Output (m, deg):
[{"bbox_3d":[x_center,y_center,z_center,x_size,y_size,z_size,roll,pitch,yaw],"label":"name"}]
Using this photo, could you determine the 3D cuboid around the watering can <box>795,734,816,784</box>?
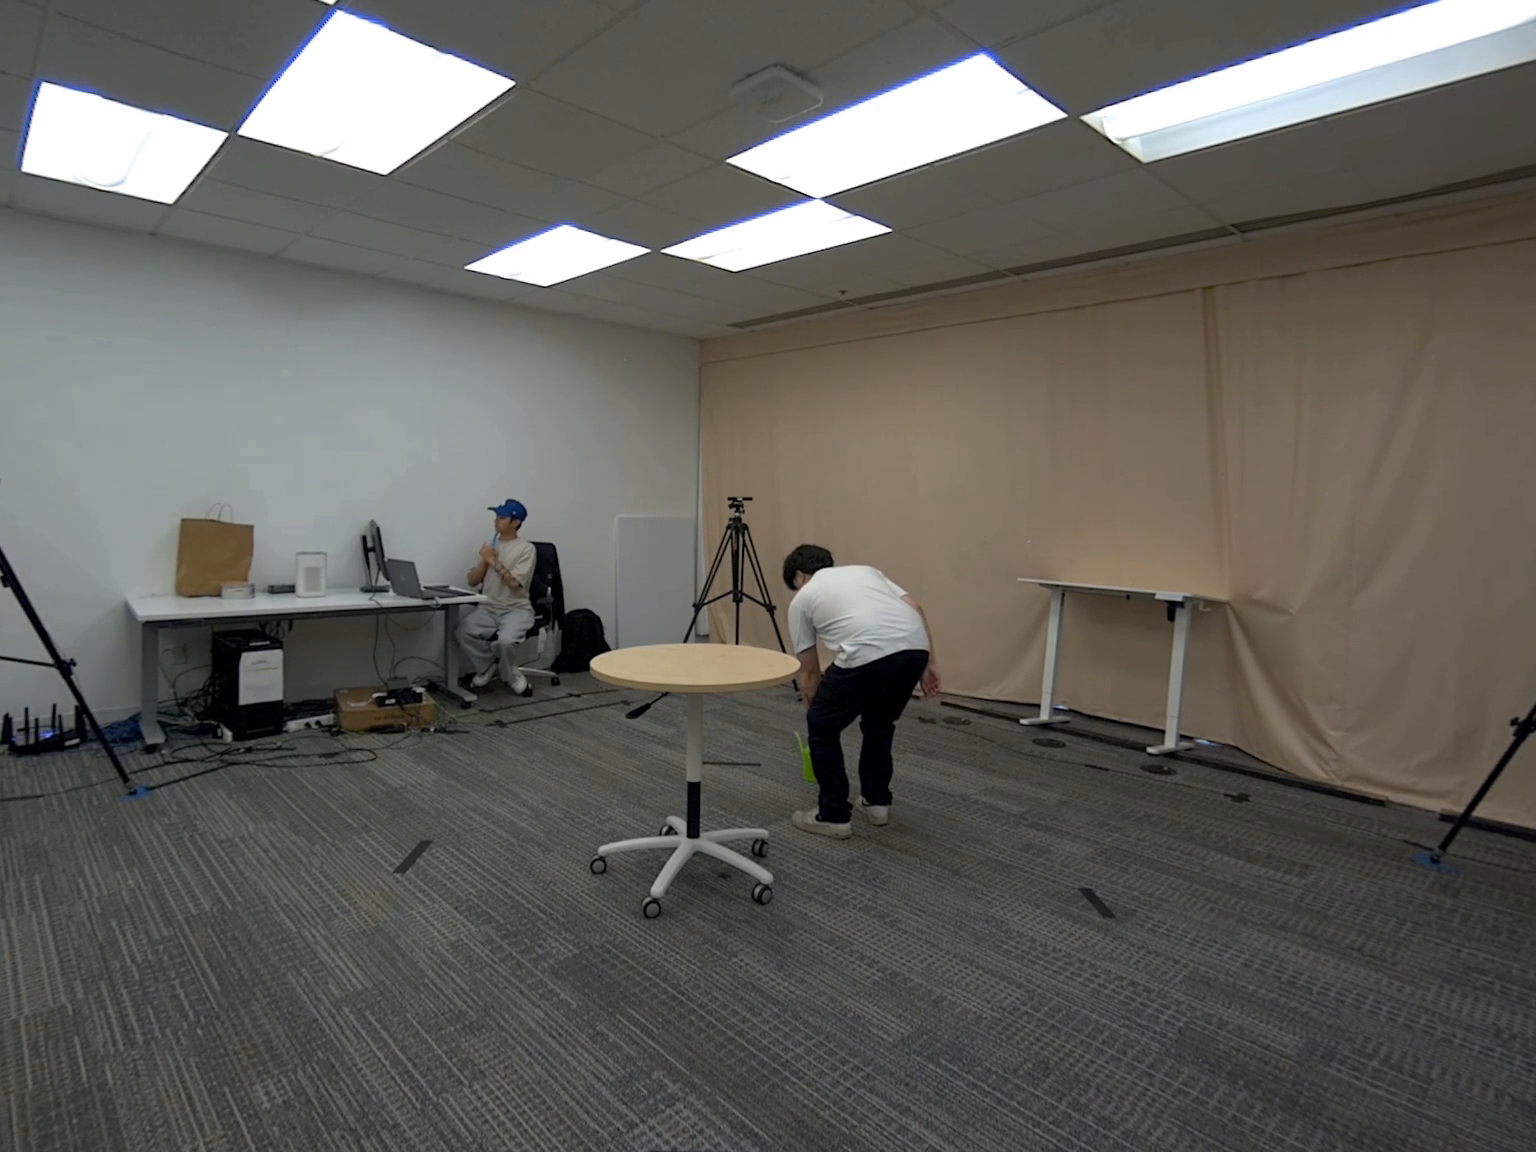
[{"bbox_3d":[0.187,0.848,3.948,0.097,0.176,0.282,0,7,-10],"label":"watering can"}]
